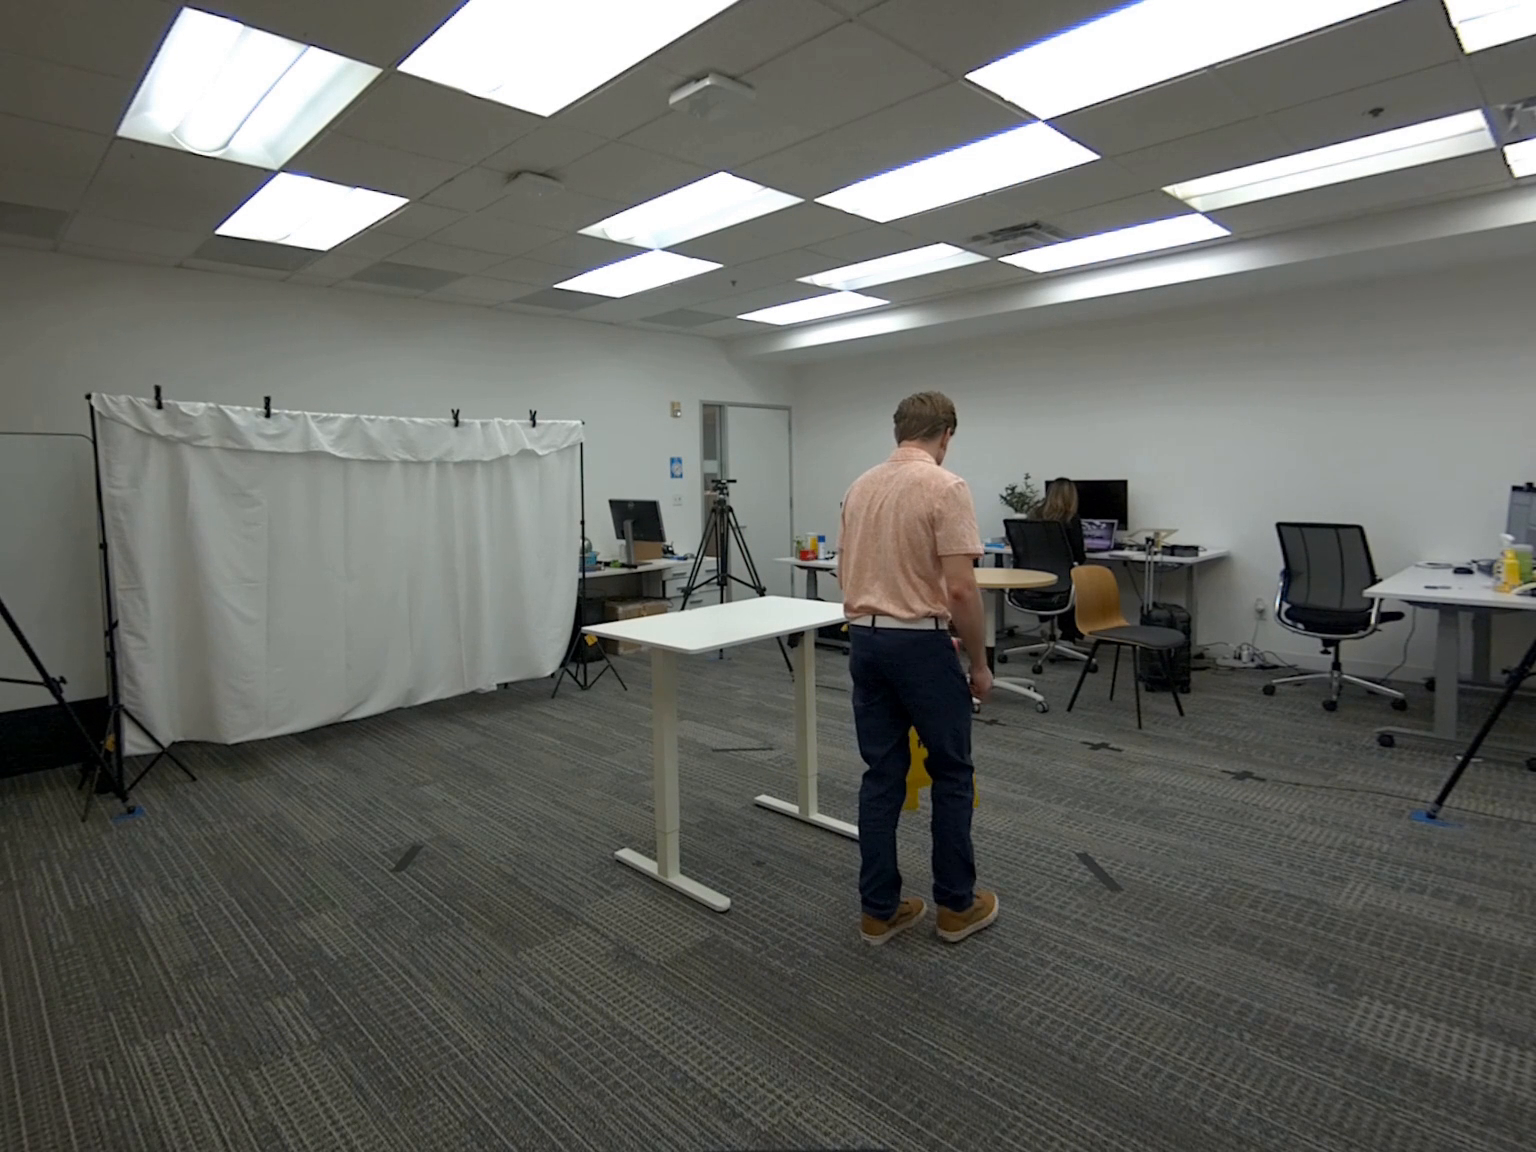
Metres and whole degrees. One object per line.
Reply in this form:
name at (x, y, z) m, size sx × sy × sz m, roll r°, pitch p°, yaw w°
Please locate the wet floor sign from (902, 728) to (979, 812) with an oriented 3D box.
wet floor sign at (0.557, 0.460, 2.974) m, size 0.283 × 0.643 × 0.291 m, roll -5°, pitch 5°, yaw 1°
